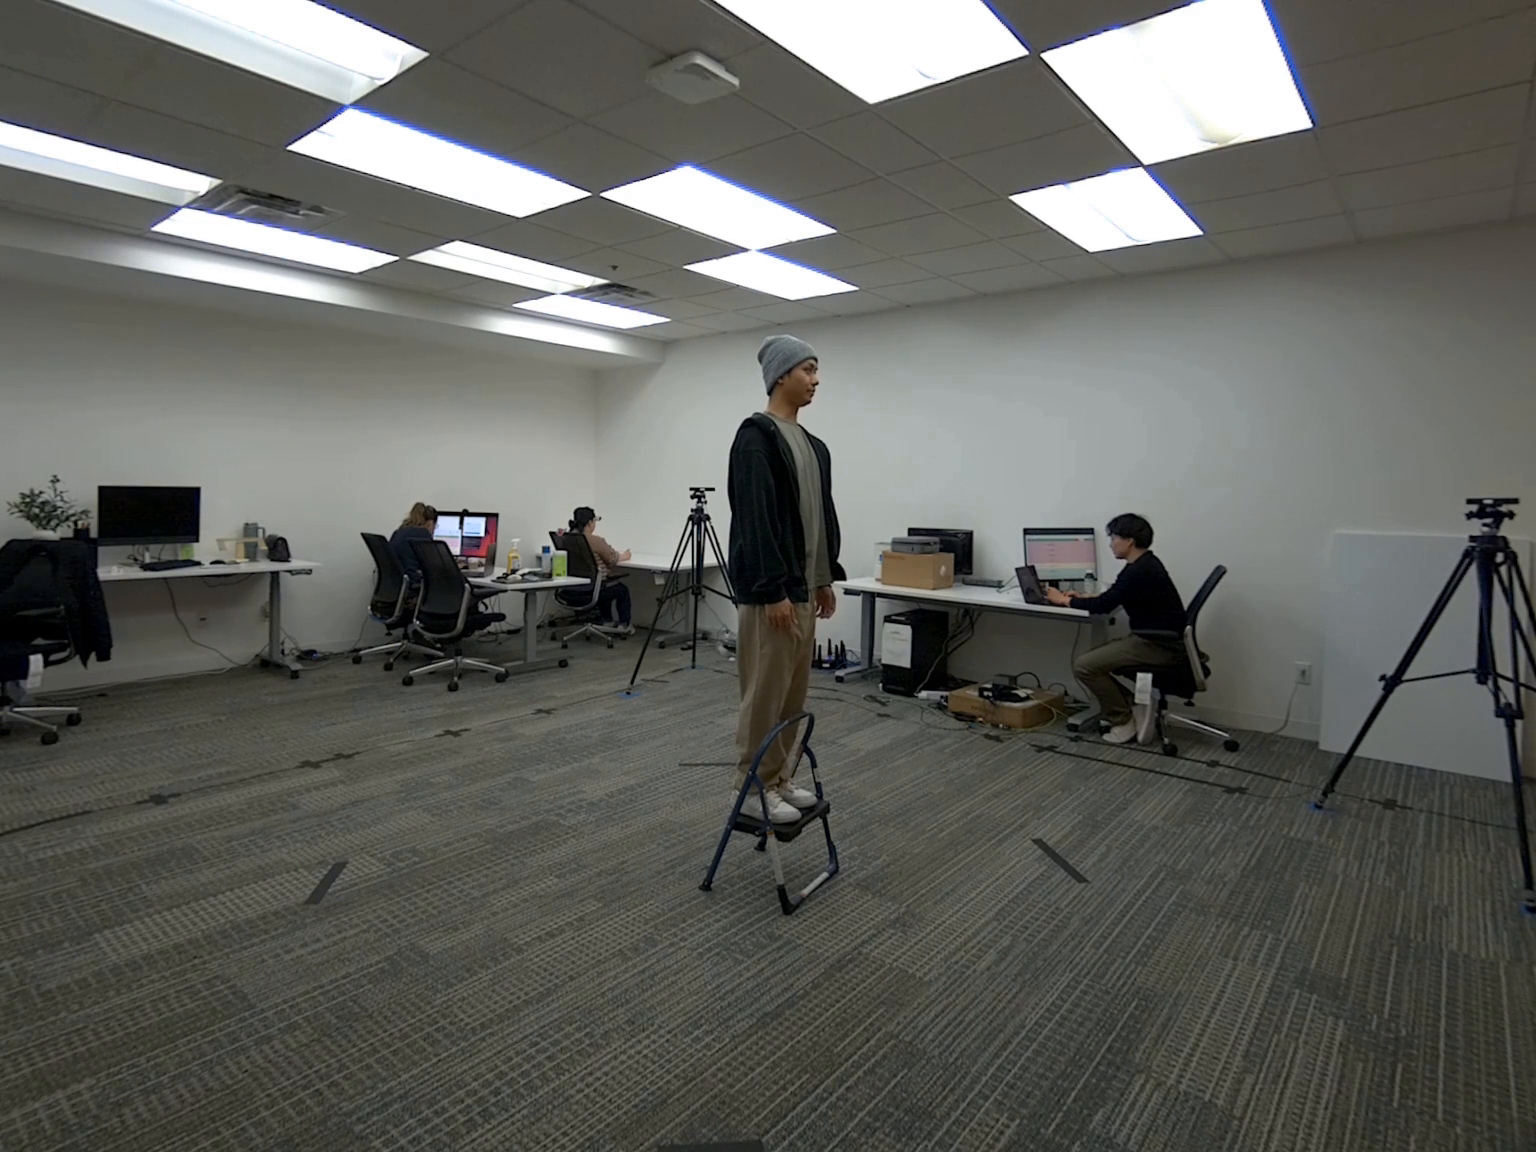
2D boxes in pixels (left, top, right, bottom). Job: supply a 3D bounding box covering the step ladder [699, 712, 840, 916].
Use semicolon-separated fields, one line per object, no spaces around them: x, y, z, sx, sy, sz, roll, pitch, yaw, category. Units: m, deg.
0.014;0.778;3.015;0.359;0.604;0.419;4;4;29;step ladder
